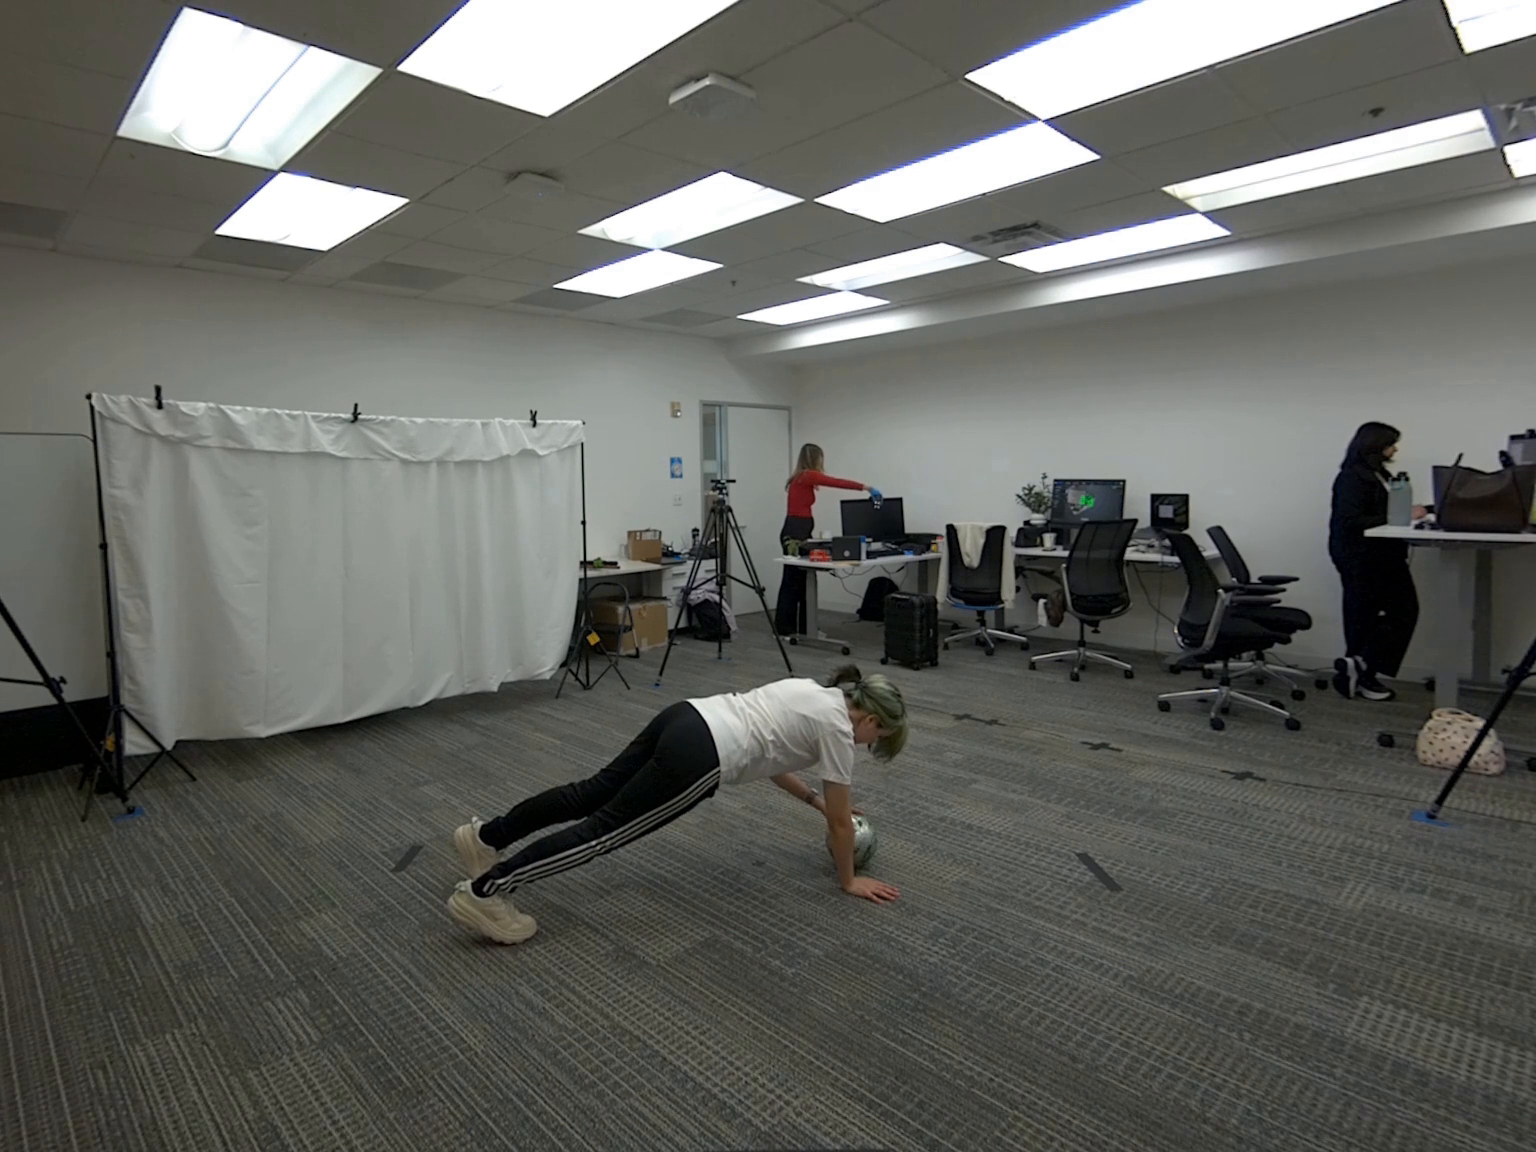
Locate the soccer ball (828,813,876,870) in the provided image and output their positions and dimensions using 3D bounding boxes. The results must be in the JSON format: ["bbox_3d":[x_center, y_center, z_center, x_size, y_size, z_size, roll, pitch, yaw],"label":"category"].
[{"bbox_3d":[0.302,0.949,3.075,0.187,0.187,0.188,-1,5,-2],"label":"soccer ball"}]
